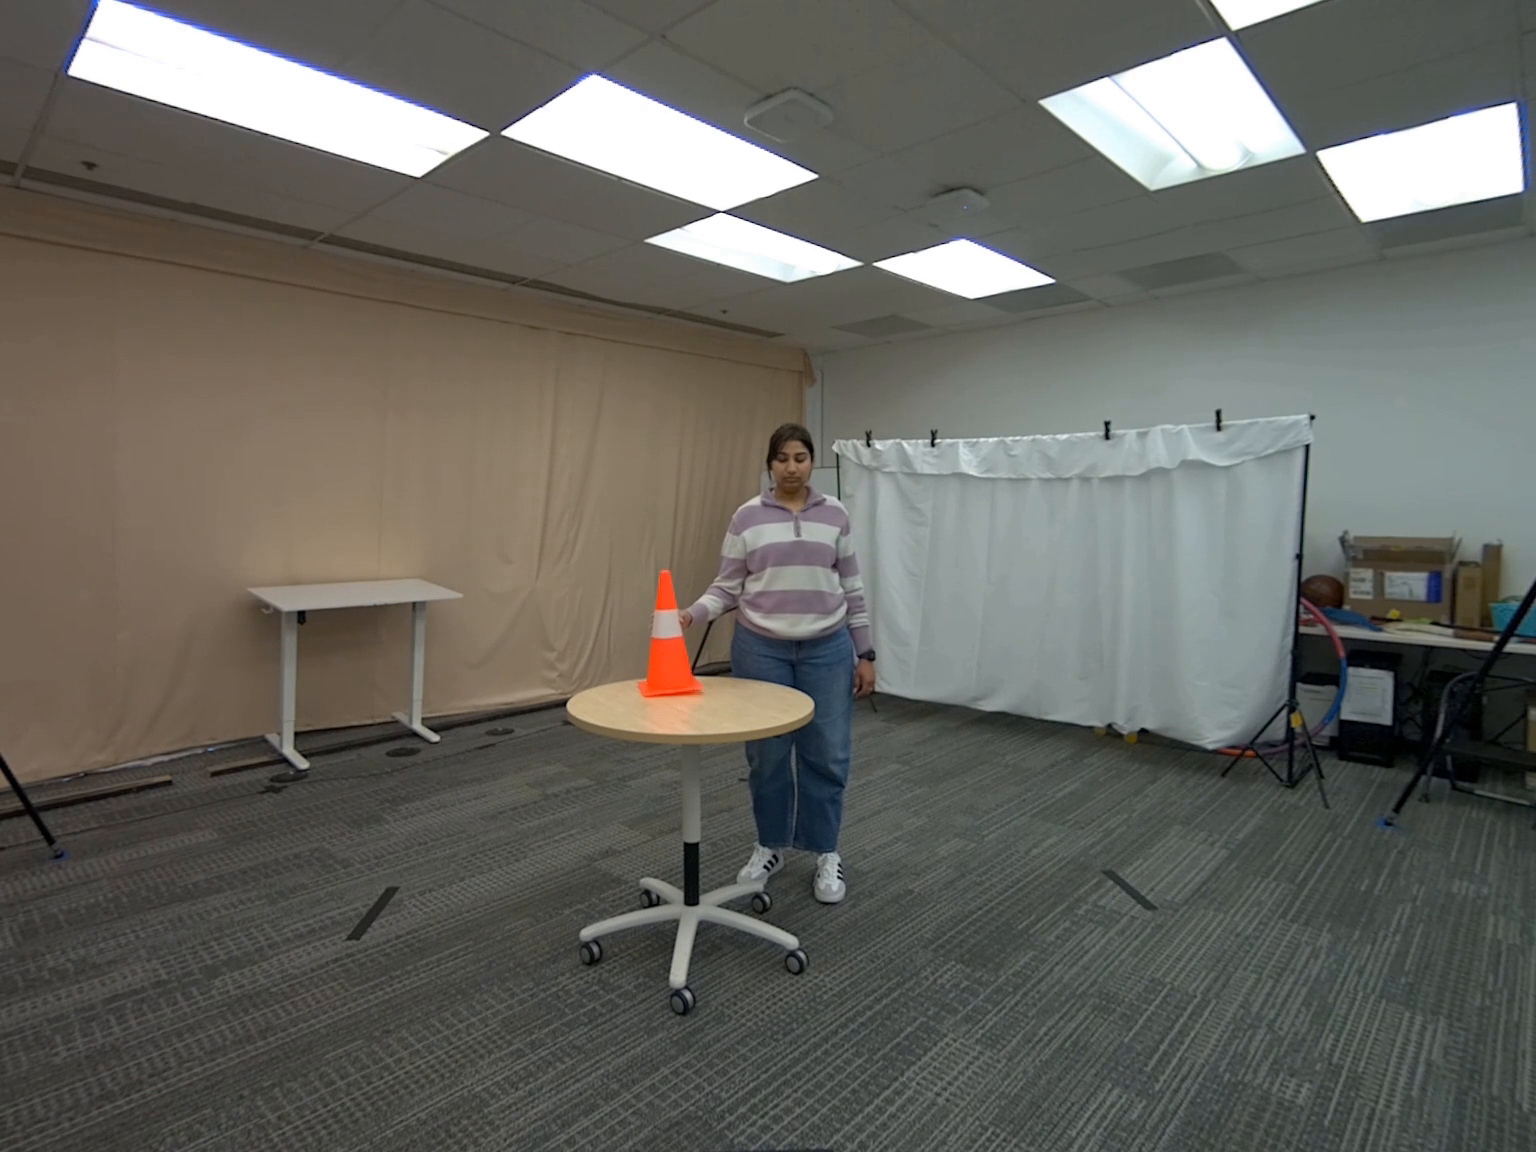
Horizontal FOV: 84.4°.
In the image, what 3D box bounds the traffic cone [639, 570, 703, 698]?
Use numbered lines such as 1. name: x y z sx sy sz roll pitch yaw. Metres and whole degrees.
1. traffic cone: -0.332 0.175 2.766 0.200 0.383 0.208 -2 3 -15
